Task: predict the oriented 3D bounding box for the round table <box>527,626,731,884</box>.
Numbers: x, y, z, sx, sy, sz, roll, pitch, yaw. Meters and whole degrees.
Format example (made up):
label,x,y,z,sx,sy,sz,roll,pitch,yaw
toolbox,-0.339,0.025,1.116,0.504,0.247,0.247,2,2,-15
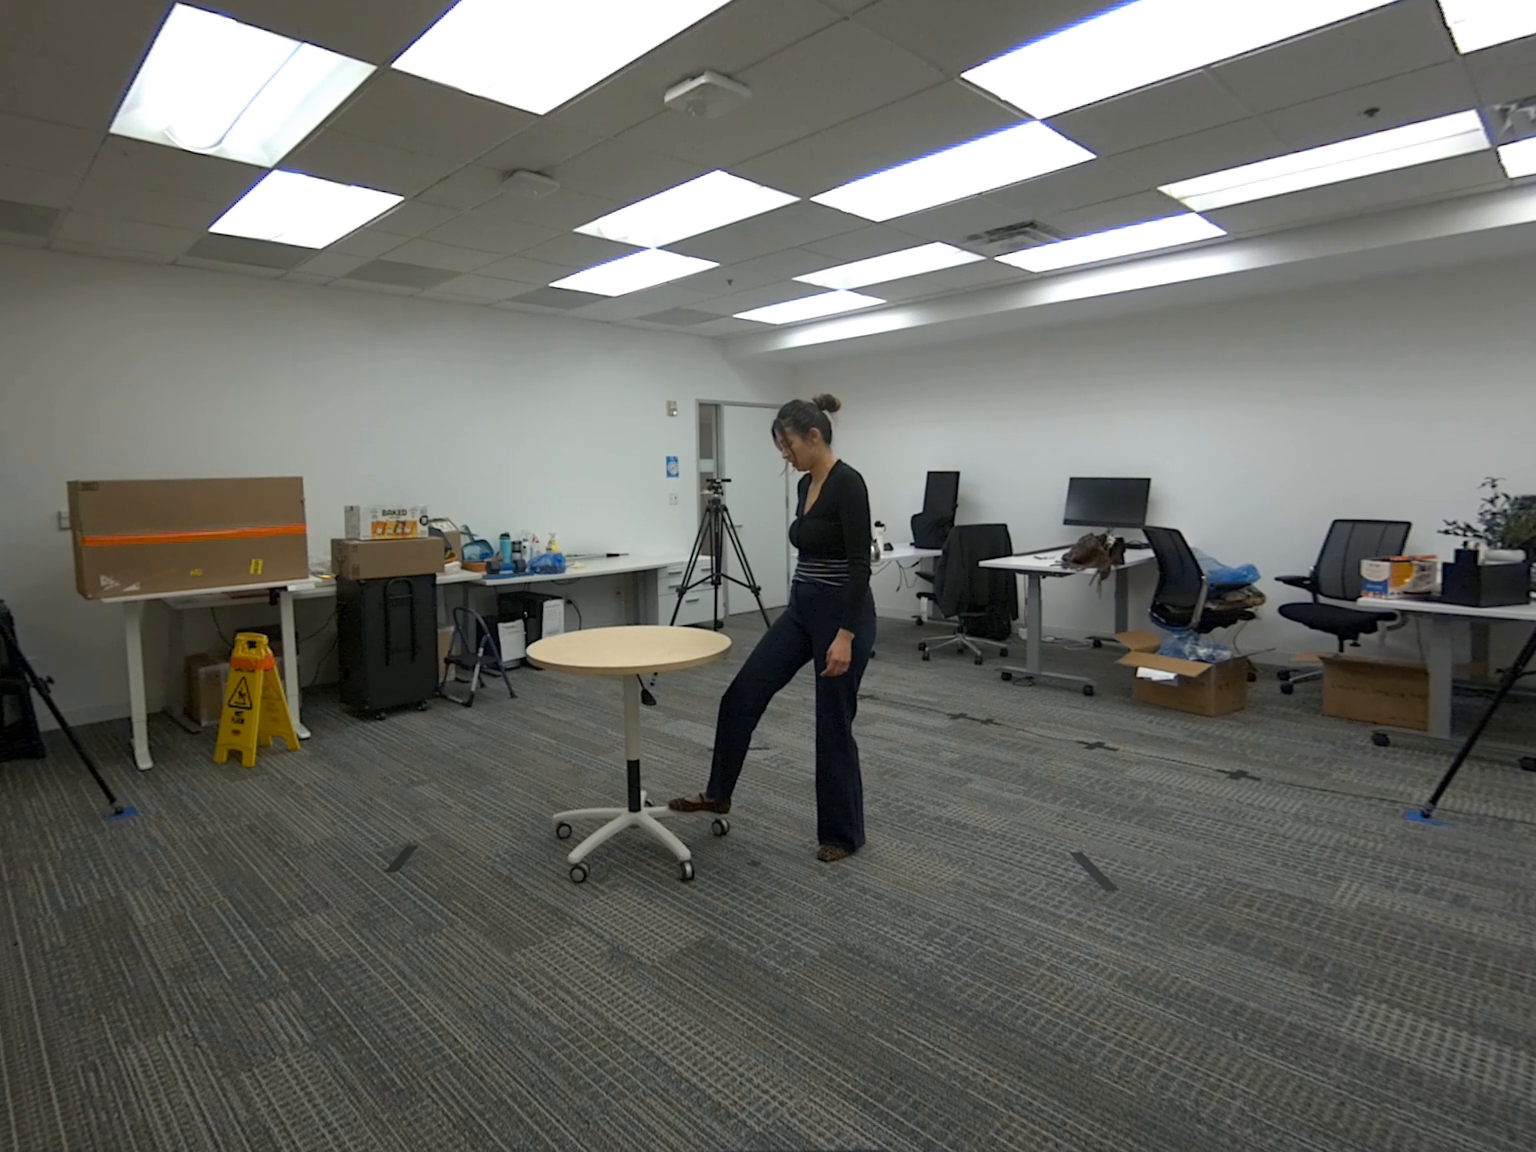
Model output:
label,x,y,z,sx,sy,sz,roll,pitch,yaw
round table,-0.508,0.645,3.249,0.763,0.790,0.768,-2,5,-2
